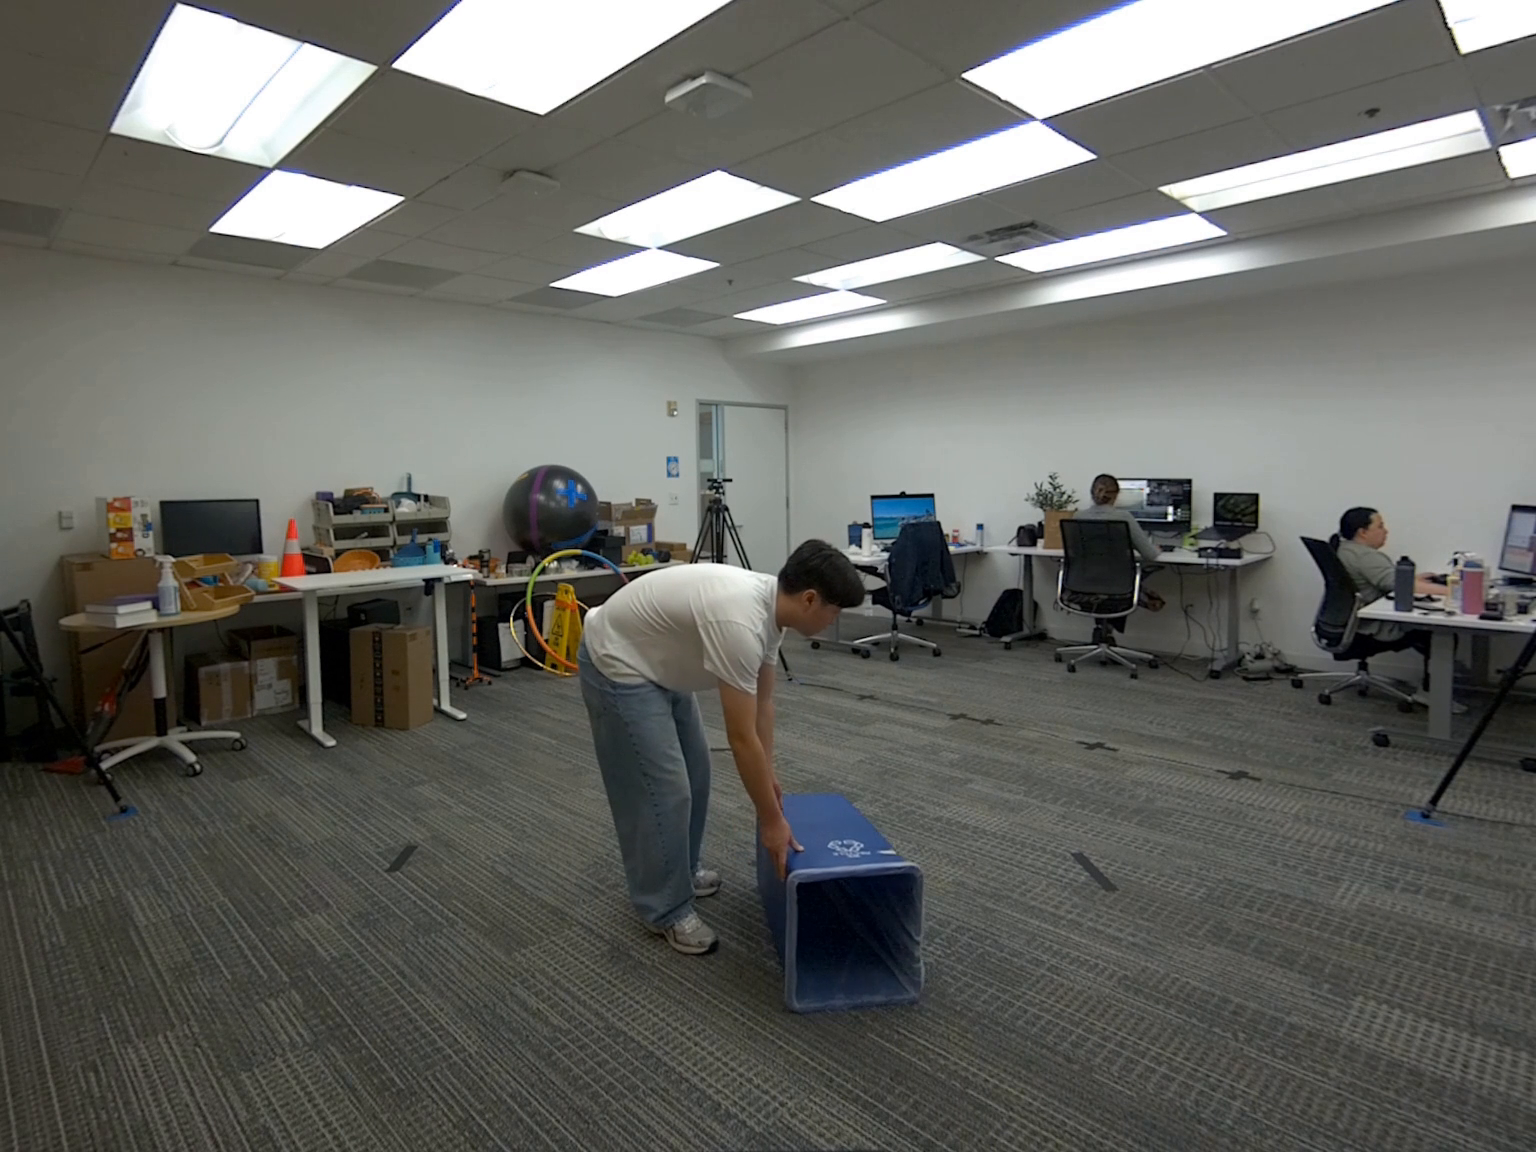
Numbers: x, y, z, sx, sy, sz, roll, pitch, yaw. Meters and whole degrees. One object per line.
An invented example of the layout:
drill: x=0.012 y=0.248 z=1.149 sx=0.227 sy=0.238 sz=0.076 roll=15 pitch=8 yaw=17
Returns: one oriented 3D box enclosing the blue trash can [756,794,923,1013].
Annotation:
blue trash can: x=0.172 y=0.933 z=2.598 sx=0.371 sy=0.377 sz=0.721 roll=-2 pitch=3 yaw=-10
